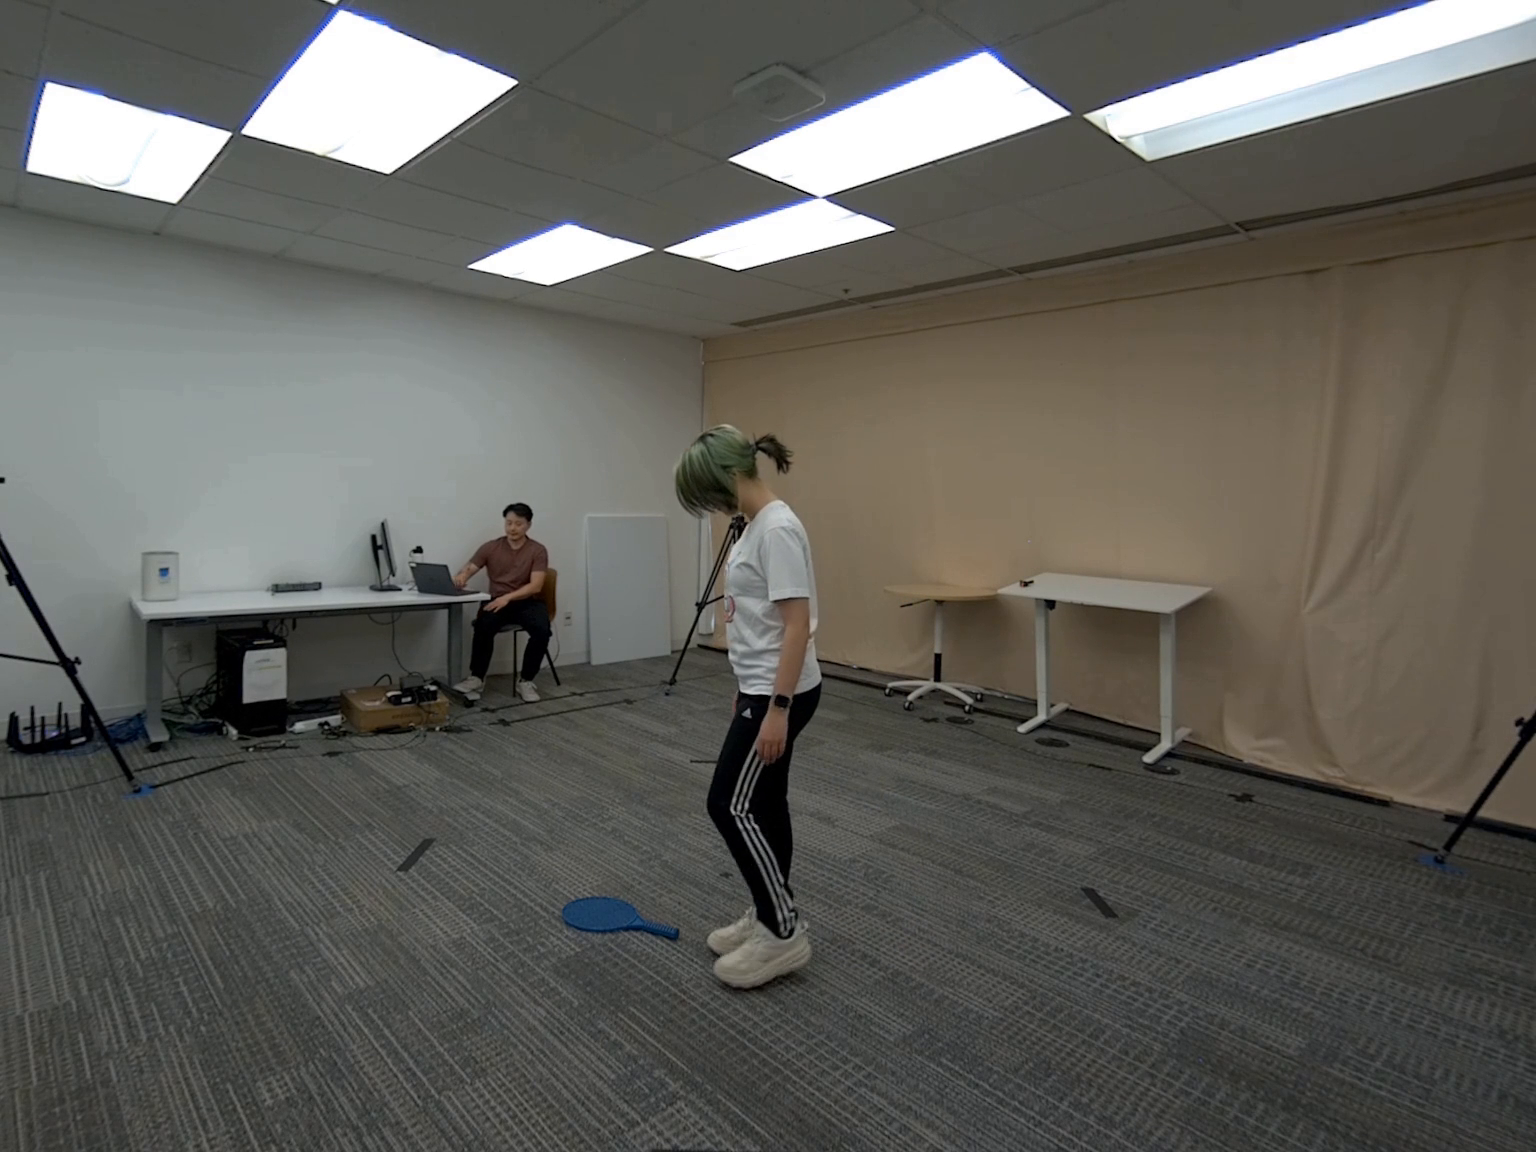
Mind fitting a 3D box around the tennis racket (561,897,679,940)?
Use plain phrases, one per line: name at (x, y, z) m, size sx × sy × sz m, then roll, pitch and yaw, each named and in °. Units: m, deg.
tennis racket at (-0.487, 1.120, 2.740) m, size 0.442 × 0.031 × 0.210 m, roll 3°, pitch 6°, yaw 29°
